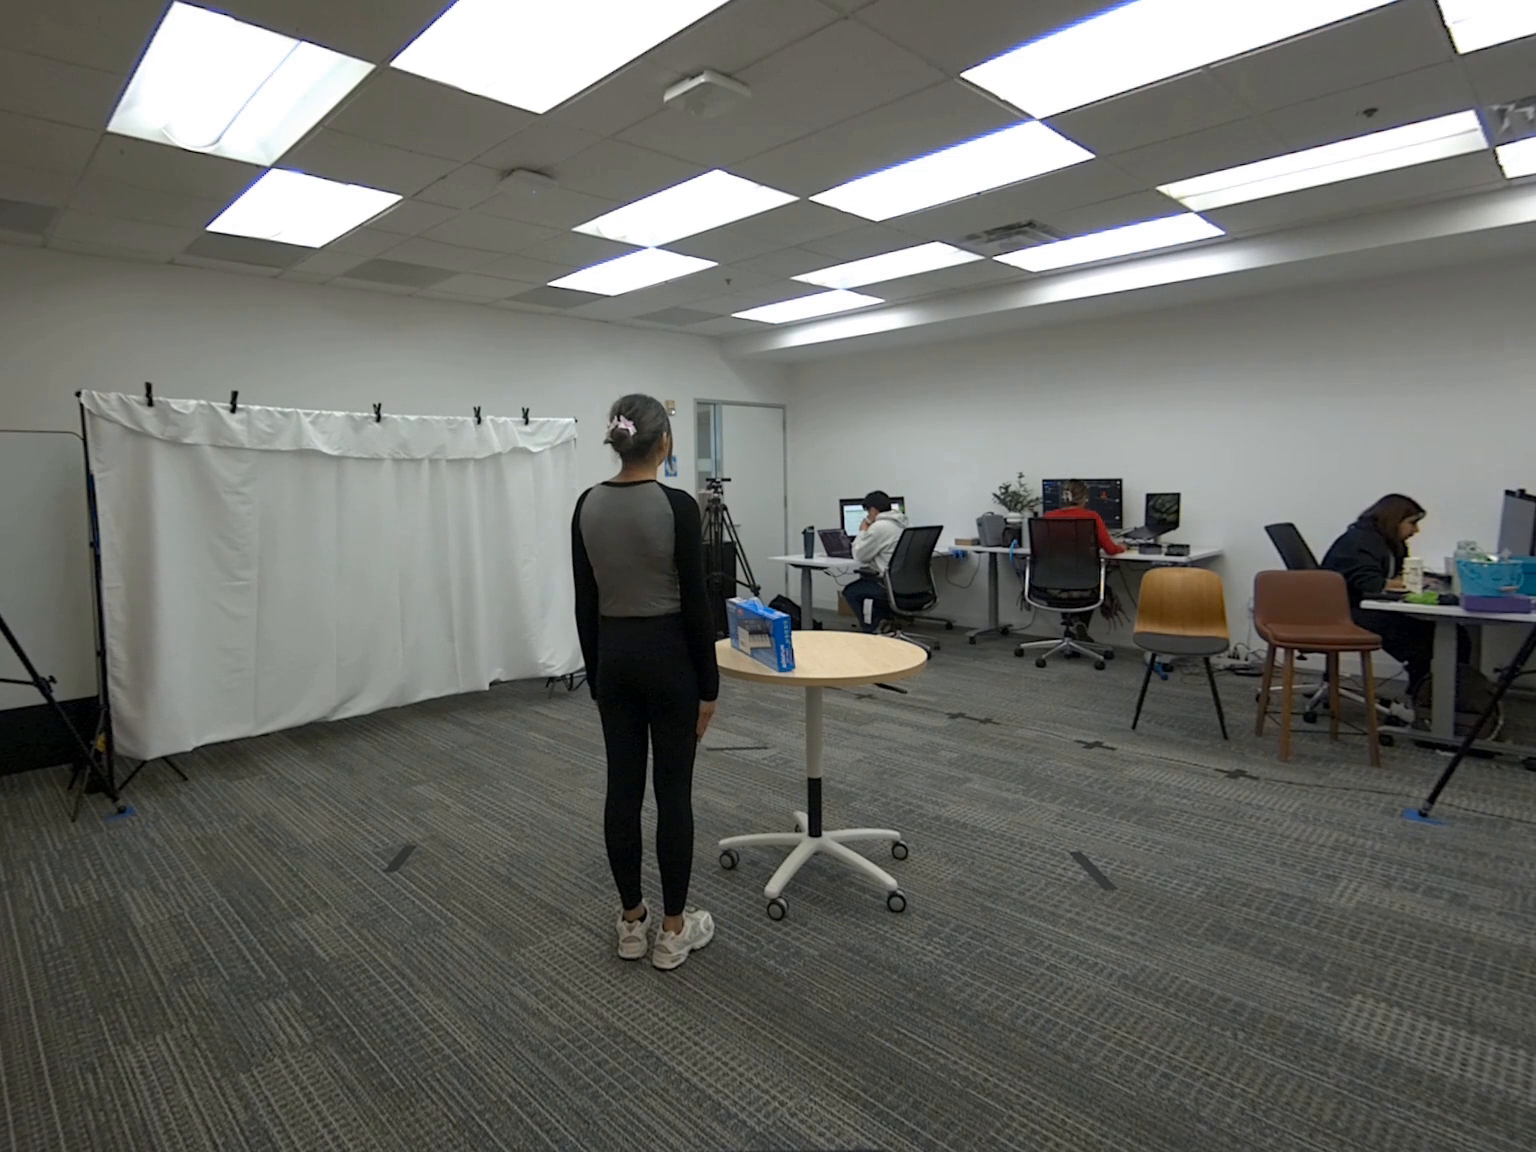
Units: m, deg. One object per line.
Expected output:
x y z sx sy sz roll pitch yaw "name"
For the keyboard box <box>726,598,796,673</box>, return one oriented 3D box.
-0.030 0.190 2.851 0.058 0.175 0.447 -8 9 -20 "keyboard box"
